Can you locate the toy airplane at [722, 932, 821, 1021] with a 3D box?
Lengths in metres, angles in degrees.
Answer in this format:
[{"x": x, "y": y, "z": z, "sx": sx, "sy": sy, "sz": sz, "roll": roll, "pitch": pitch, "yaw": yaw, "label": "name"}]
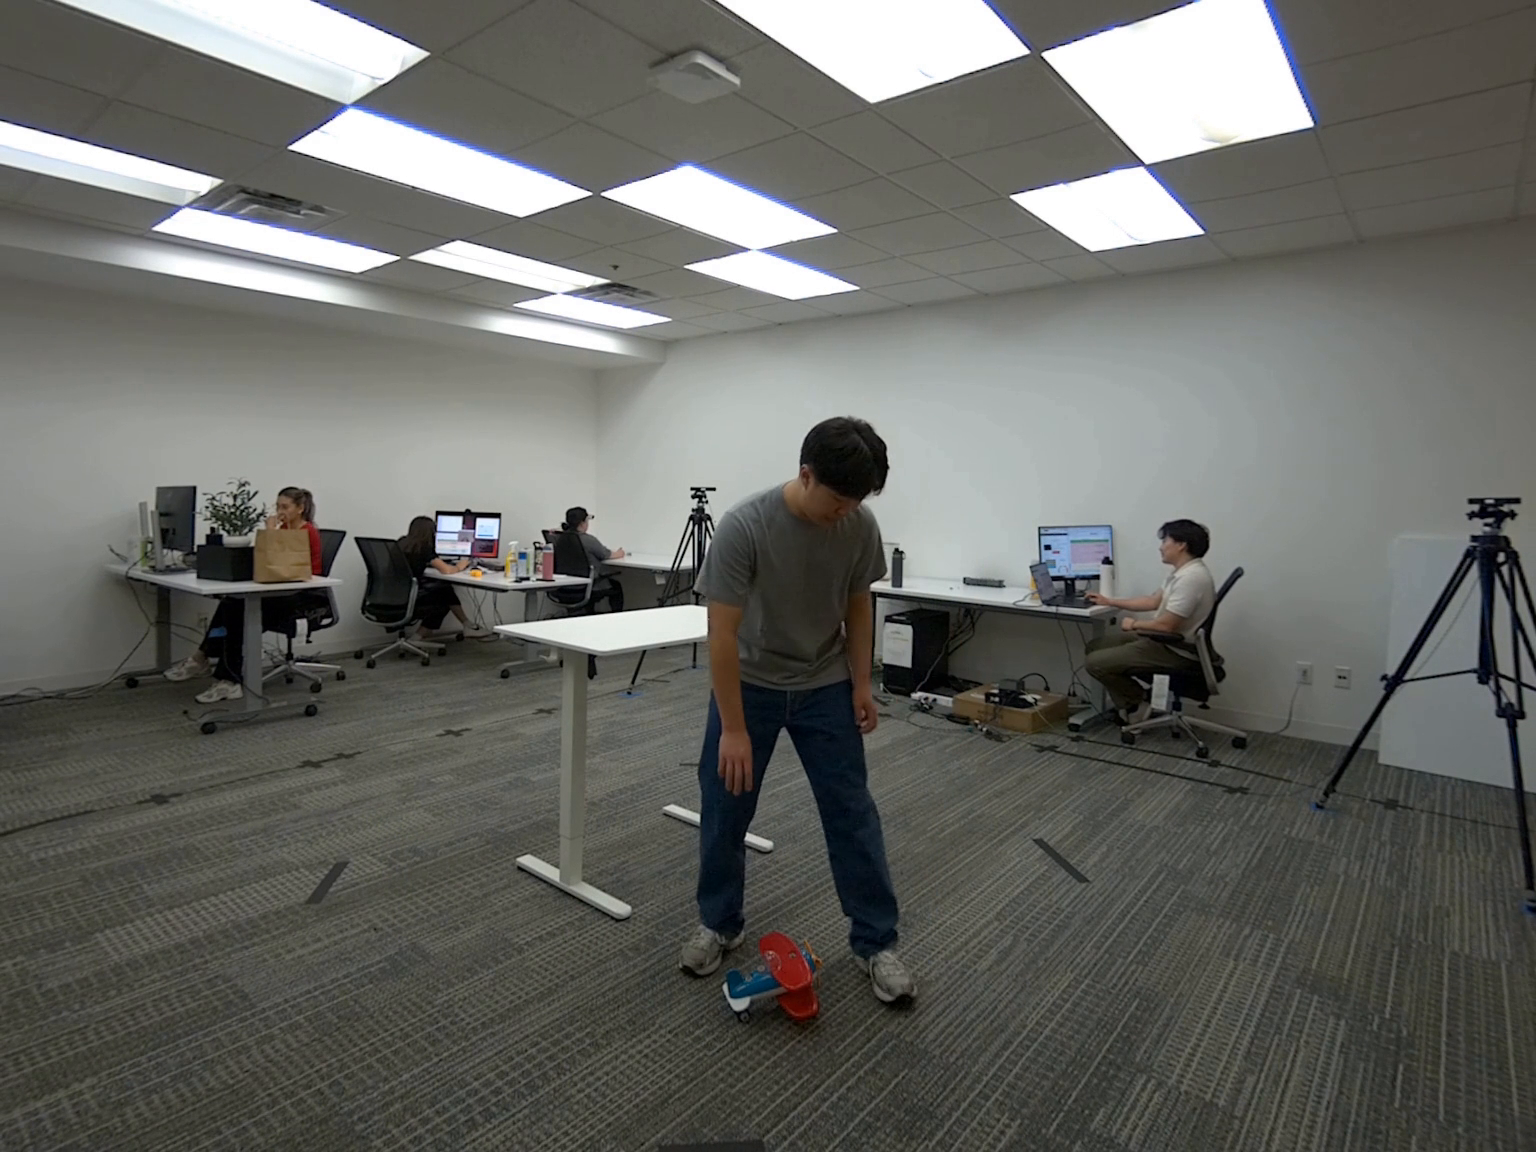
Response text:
[{"x": 0.021, "y": 1.087, "z": 2.244, "sx": 0.260, "sy": 0.156, "sz": 0.251, "roll": 6, "pitch": 6, "yaw": 44, "label": "toy airplane"}]
